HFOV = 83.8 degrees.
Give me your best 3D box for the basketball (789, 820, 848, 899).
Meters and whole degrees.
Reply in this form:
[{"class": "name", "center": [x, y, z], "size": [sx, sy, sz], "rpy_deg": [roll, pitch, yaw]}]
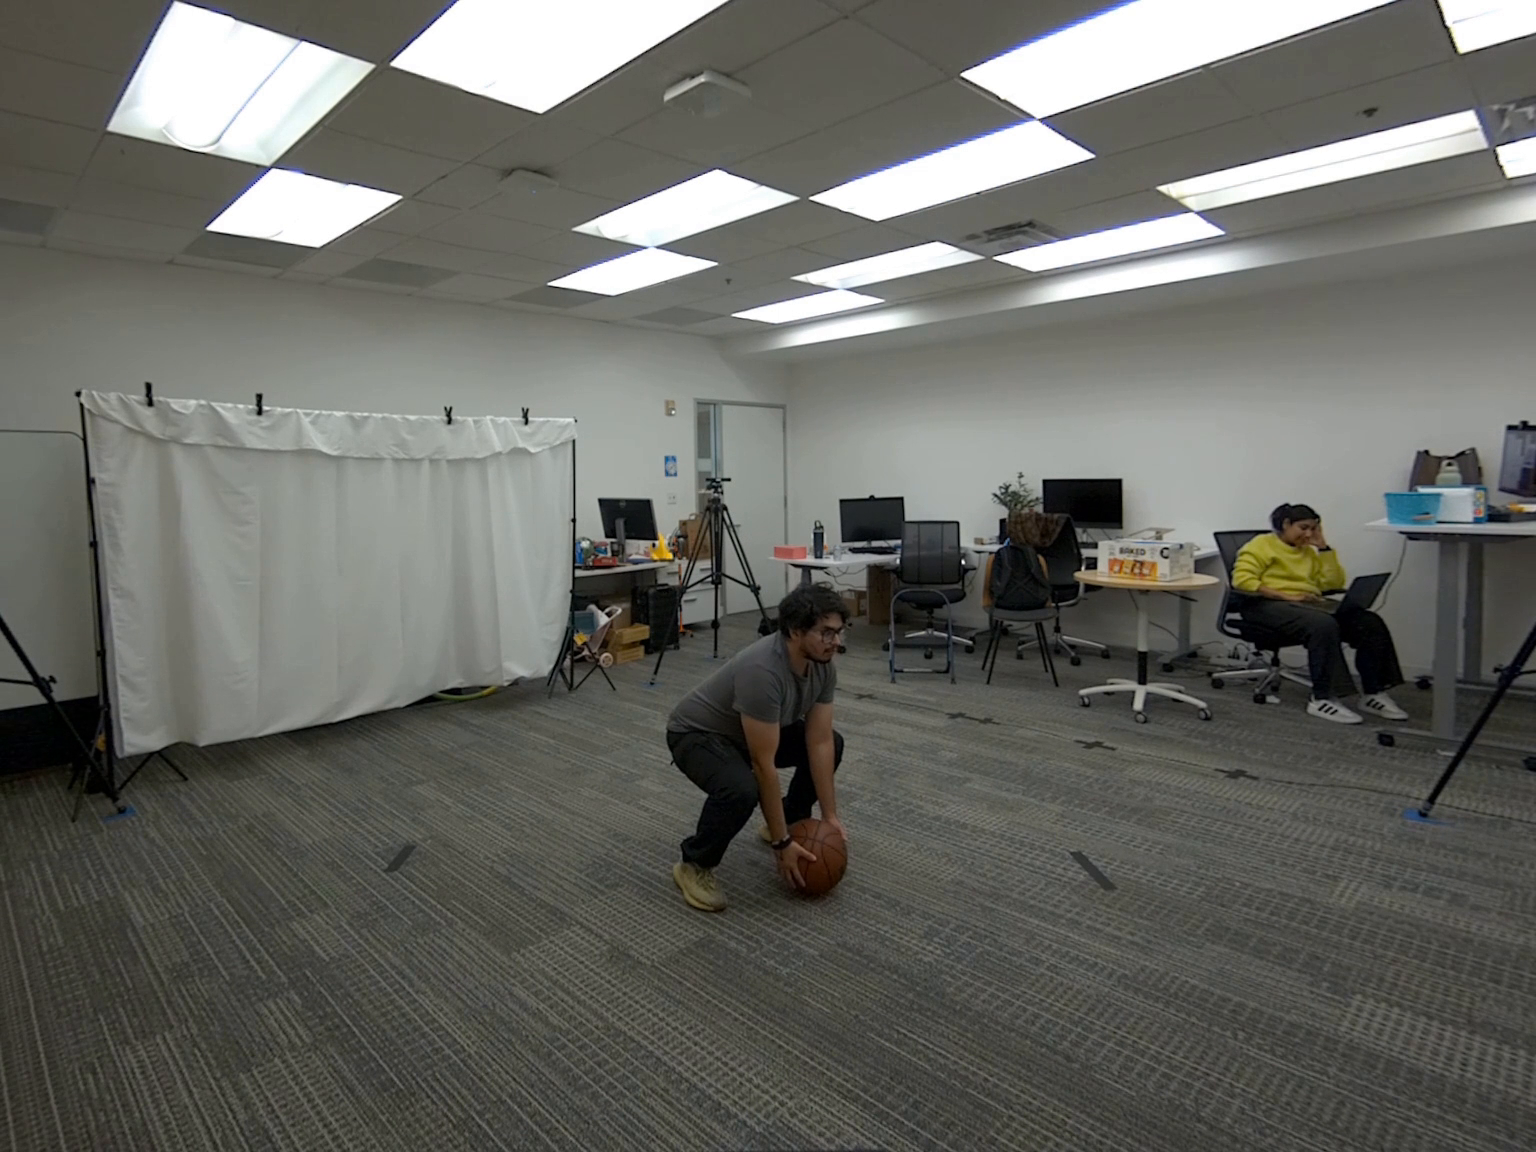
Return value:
[{"class": "basketball", "center": [0.150, 0.945, 2.881], "size": [0.236, 0.235, 0.237], "rpy_deg": [-1, 5, -2]}]
